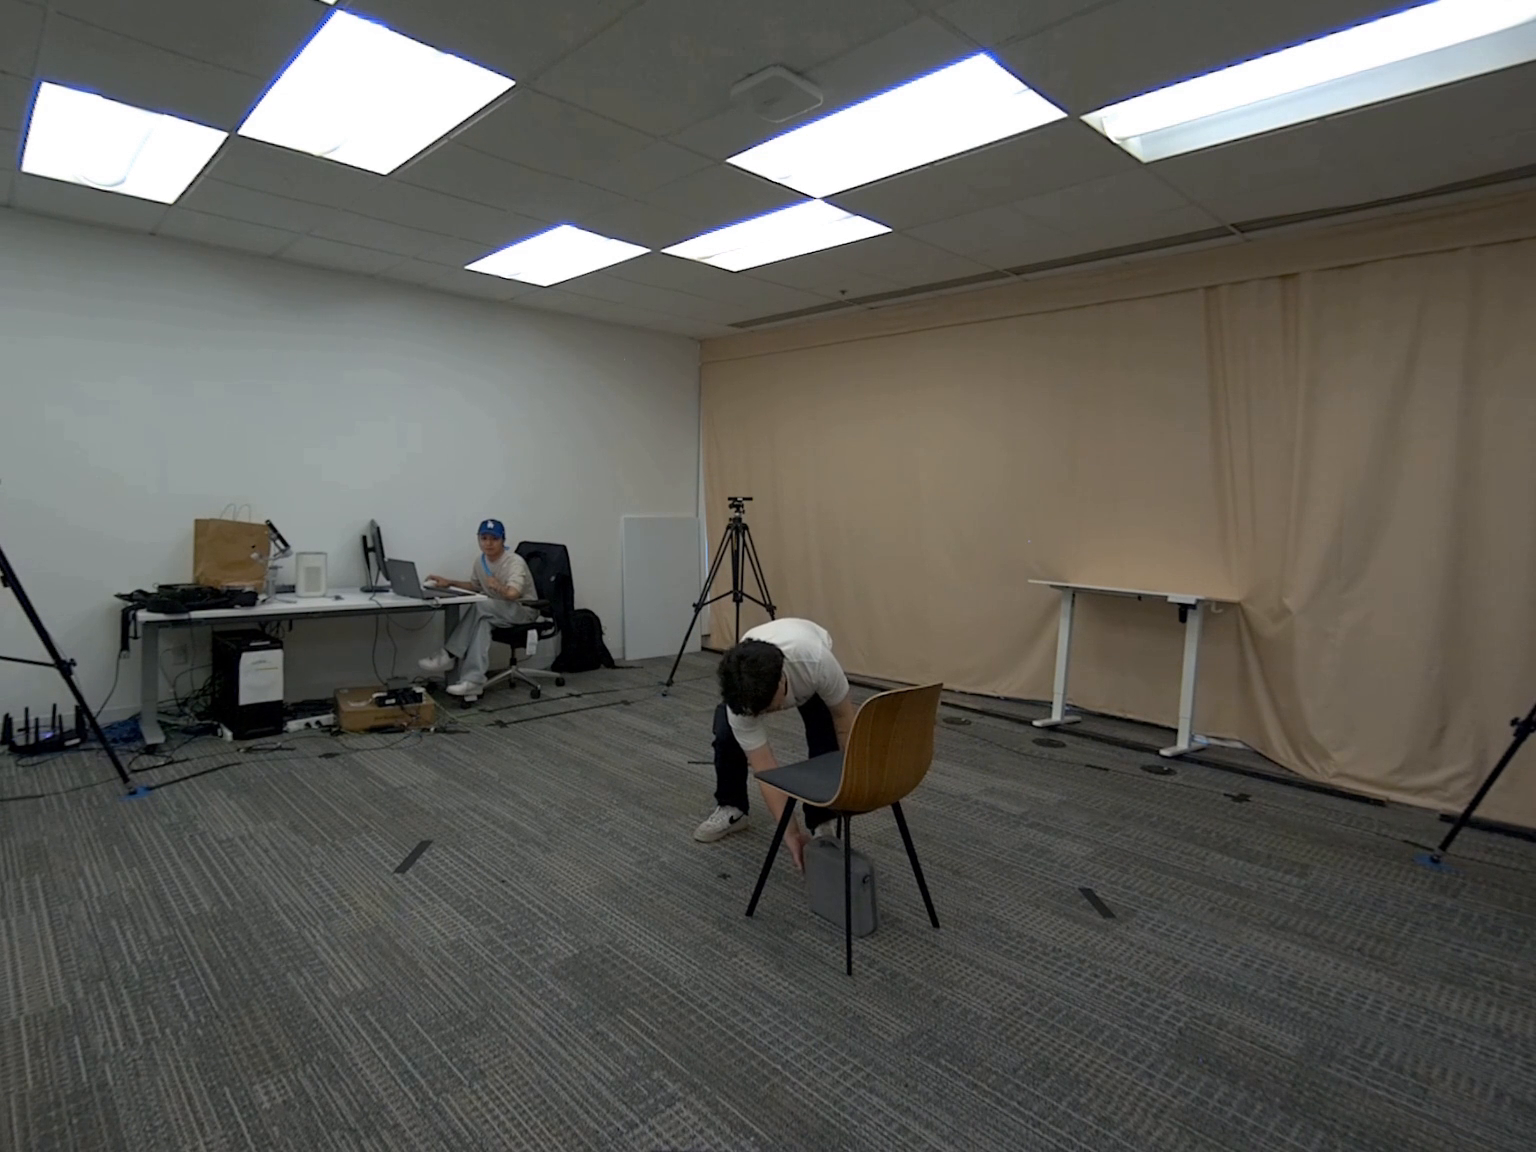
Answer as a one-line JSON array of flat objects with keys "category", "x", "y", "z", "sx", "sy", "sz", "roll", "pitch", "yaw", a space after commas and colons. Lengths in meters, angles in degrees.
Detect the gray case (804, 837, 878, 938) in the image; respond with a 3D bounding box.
[{"category": "gray case", "x": 0.233, "y": 1.018, "z": 2.771, "sx": 0.102, "sy": 0.258, "sz": 0.263, "roll": -13, "pitch": 12, "yaw": -38}]
